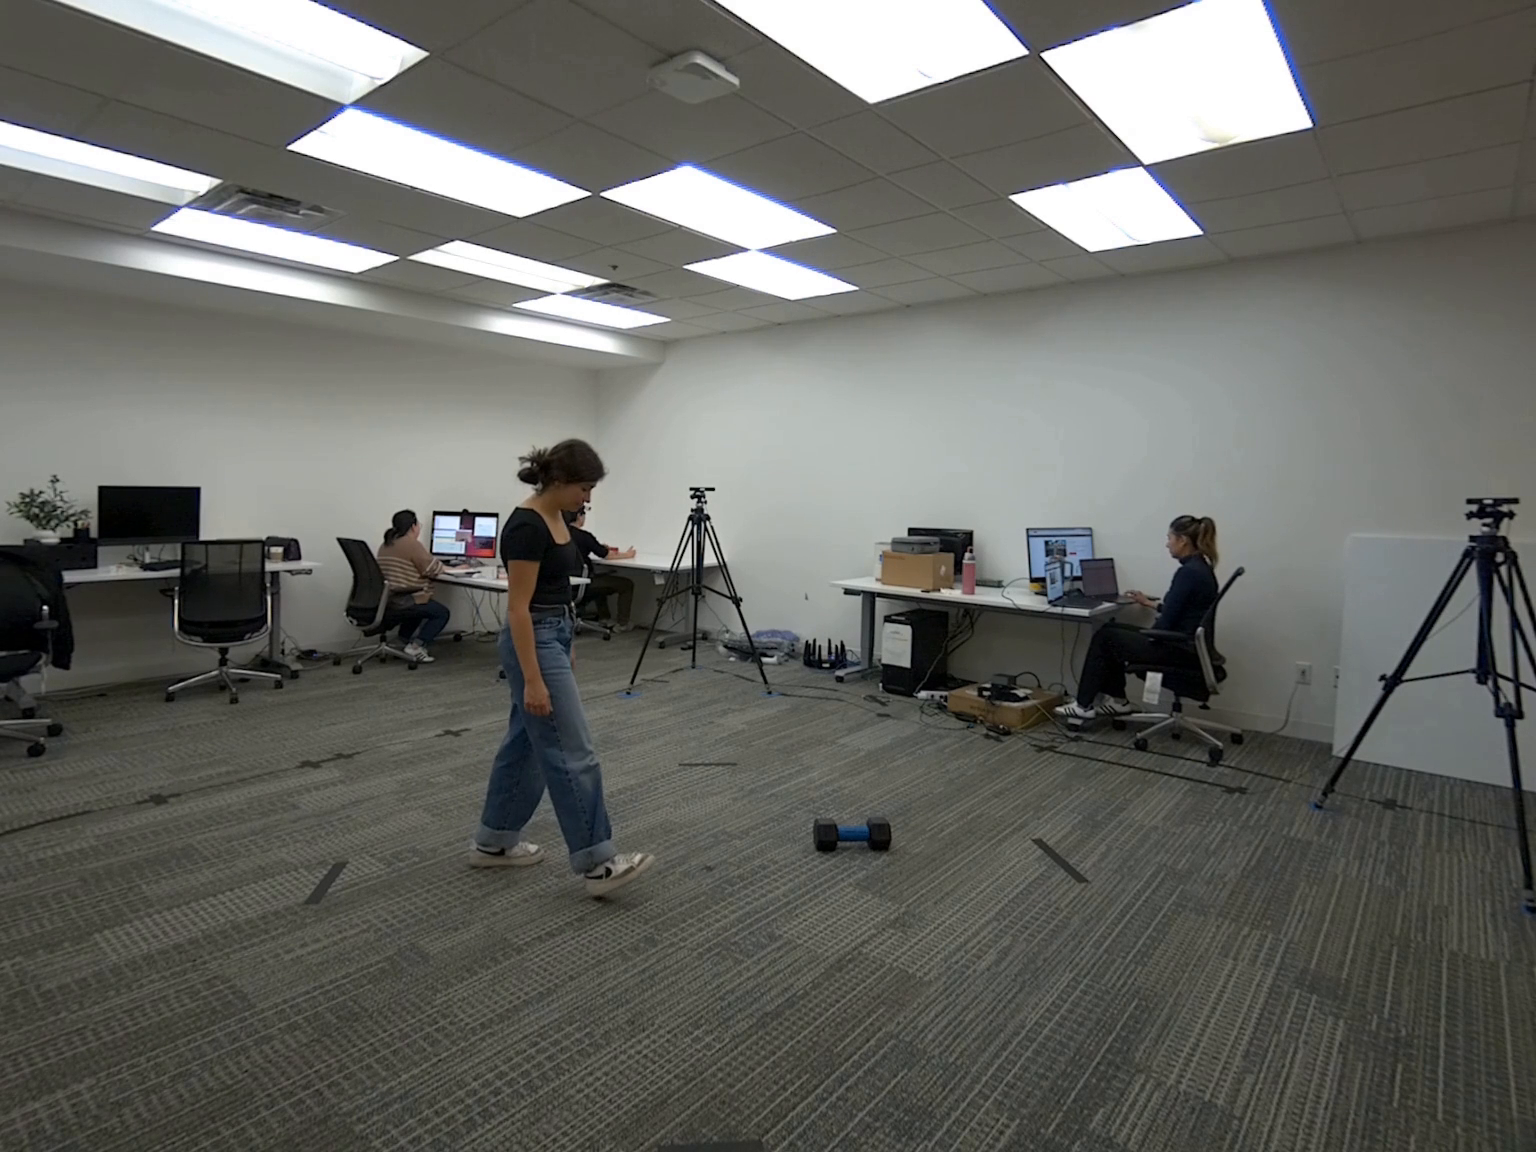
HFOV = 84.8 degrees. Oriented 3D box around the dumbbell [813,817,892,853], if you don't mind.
[{"bbox_3d":[0.323,1.010,3.319,0.292,0.120,0.112,1,35,-5],"label":"dumbbell"}]
